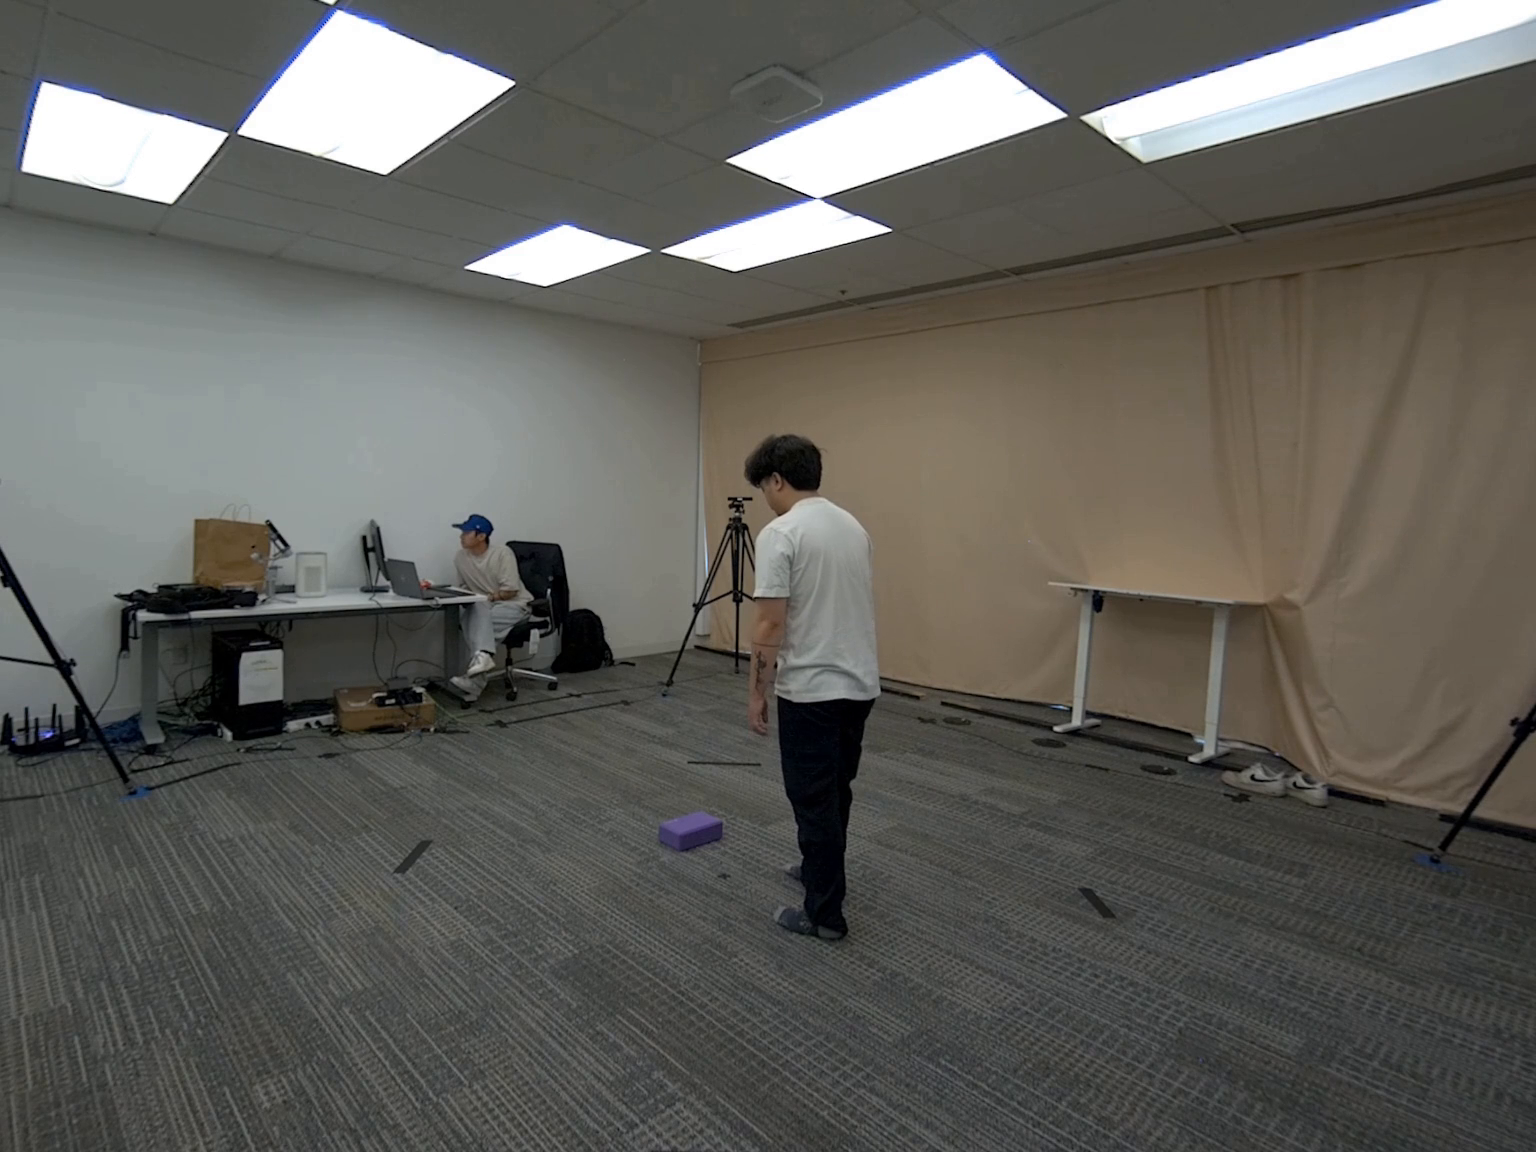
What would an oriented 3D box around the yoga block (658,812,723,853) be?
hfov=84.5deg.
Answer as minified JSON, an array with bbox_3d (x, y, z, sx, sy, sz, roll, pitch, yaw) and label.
[{"bbox_3d":[-0.321,1.037,3.425,0.224,0.076,0.153,-3,7,-45],"label":"yoga block"}]
